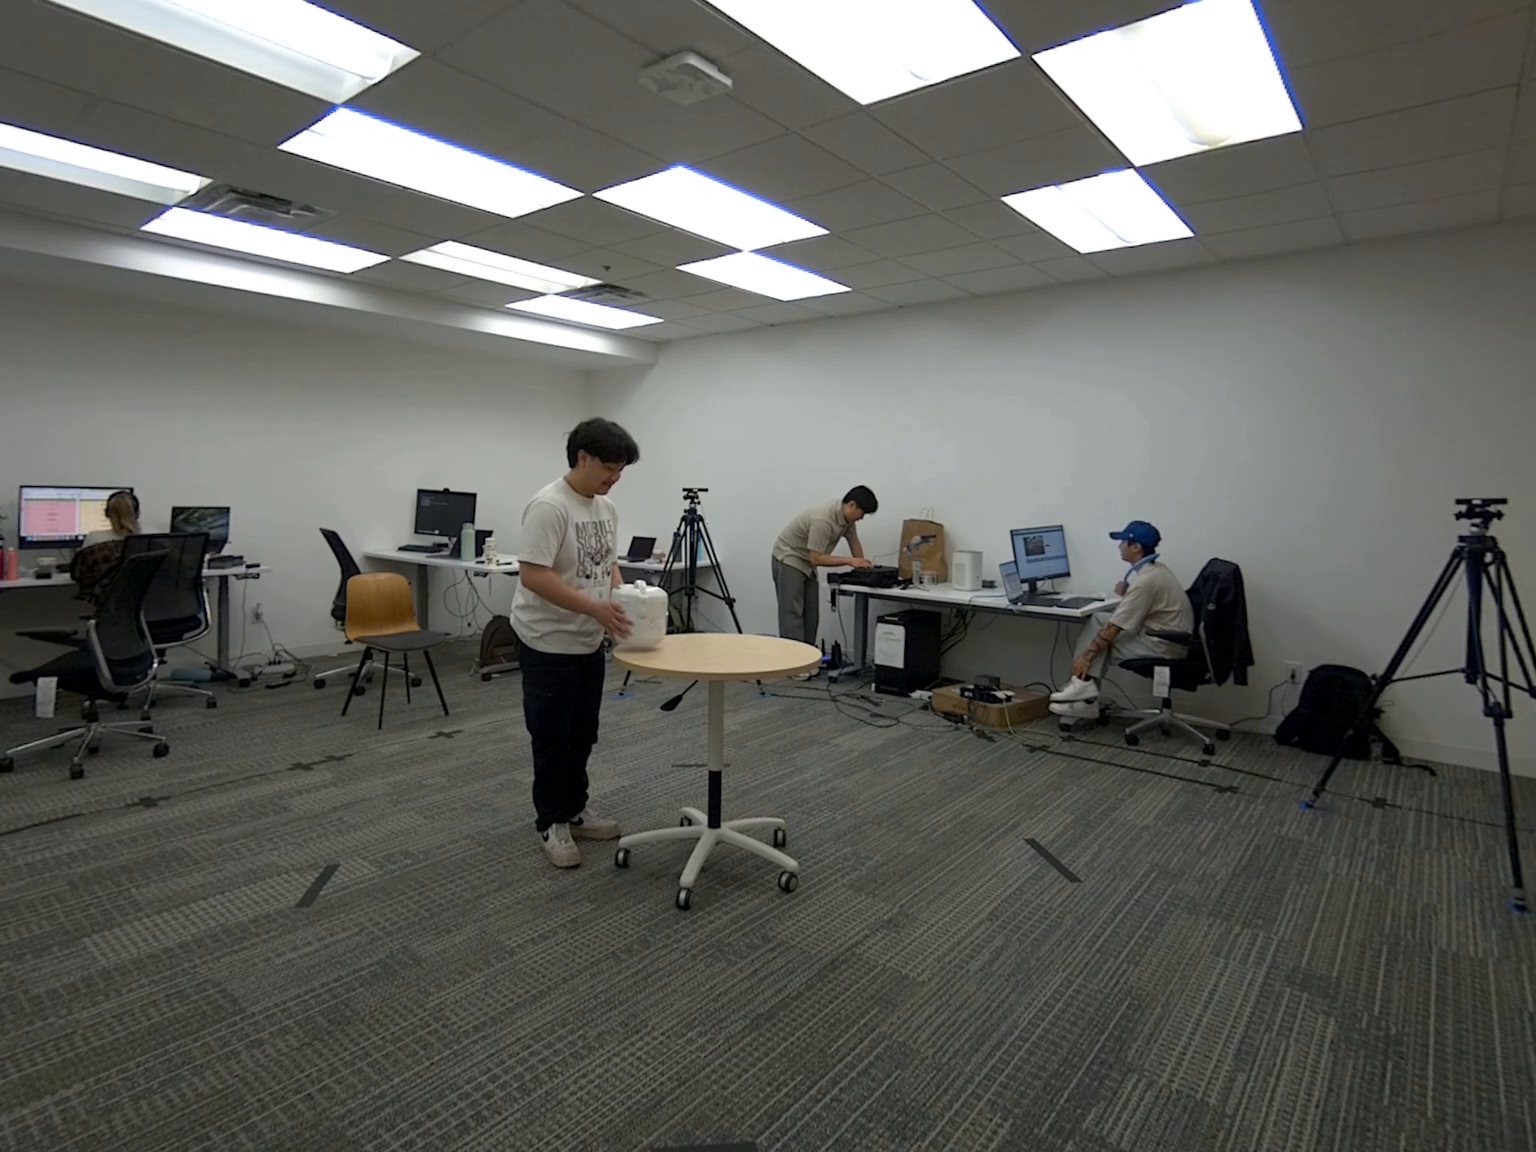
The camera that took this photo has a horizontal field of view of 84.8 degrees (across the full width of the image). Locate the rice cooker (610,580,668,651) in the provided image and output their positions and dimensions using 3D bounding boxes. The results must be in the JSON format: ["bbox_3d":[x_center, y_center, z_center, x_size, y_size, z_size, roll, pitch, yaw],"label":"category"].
[{"bbox_3d":[-0.490,0.131,3.128,0.214,0.232,0.225,4,3,-15],"label":"rice cooker"}]
